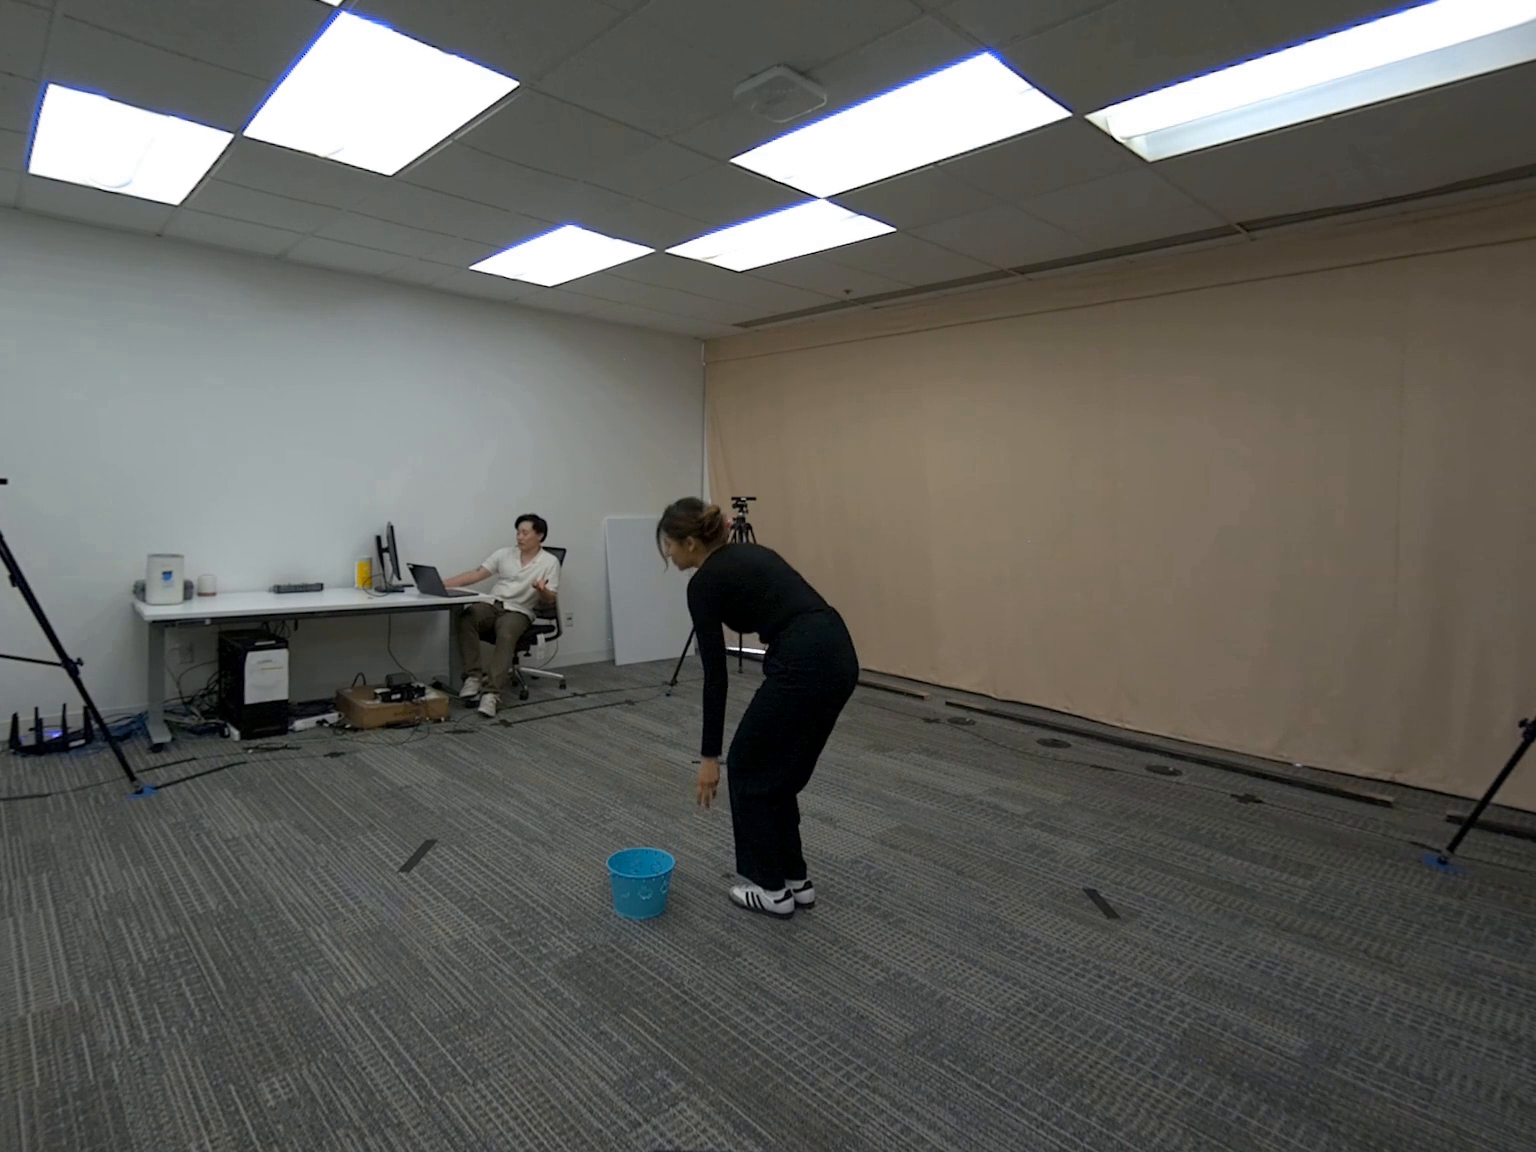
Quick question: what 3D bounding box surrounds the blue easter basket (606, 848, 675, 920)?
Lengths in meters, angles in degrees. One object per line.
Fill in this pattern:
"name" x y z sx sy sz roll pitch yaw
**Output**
"blue easter basket" -0.435 1.035 2.868 0.243 0.155 0.244 2 5 -2
